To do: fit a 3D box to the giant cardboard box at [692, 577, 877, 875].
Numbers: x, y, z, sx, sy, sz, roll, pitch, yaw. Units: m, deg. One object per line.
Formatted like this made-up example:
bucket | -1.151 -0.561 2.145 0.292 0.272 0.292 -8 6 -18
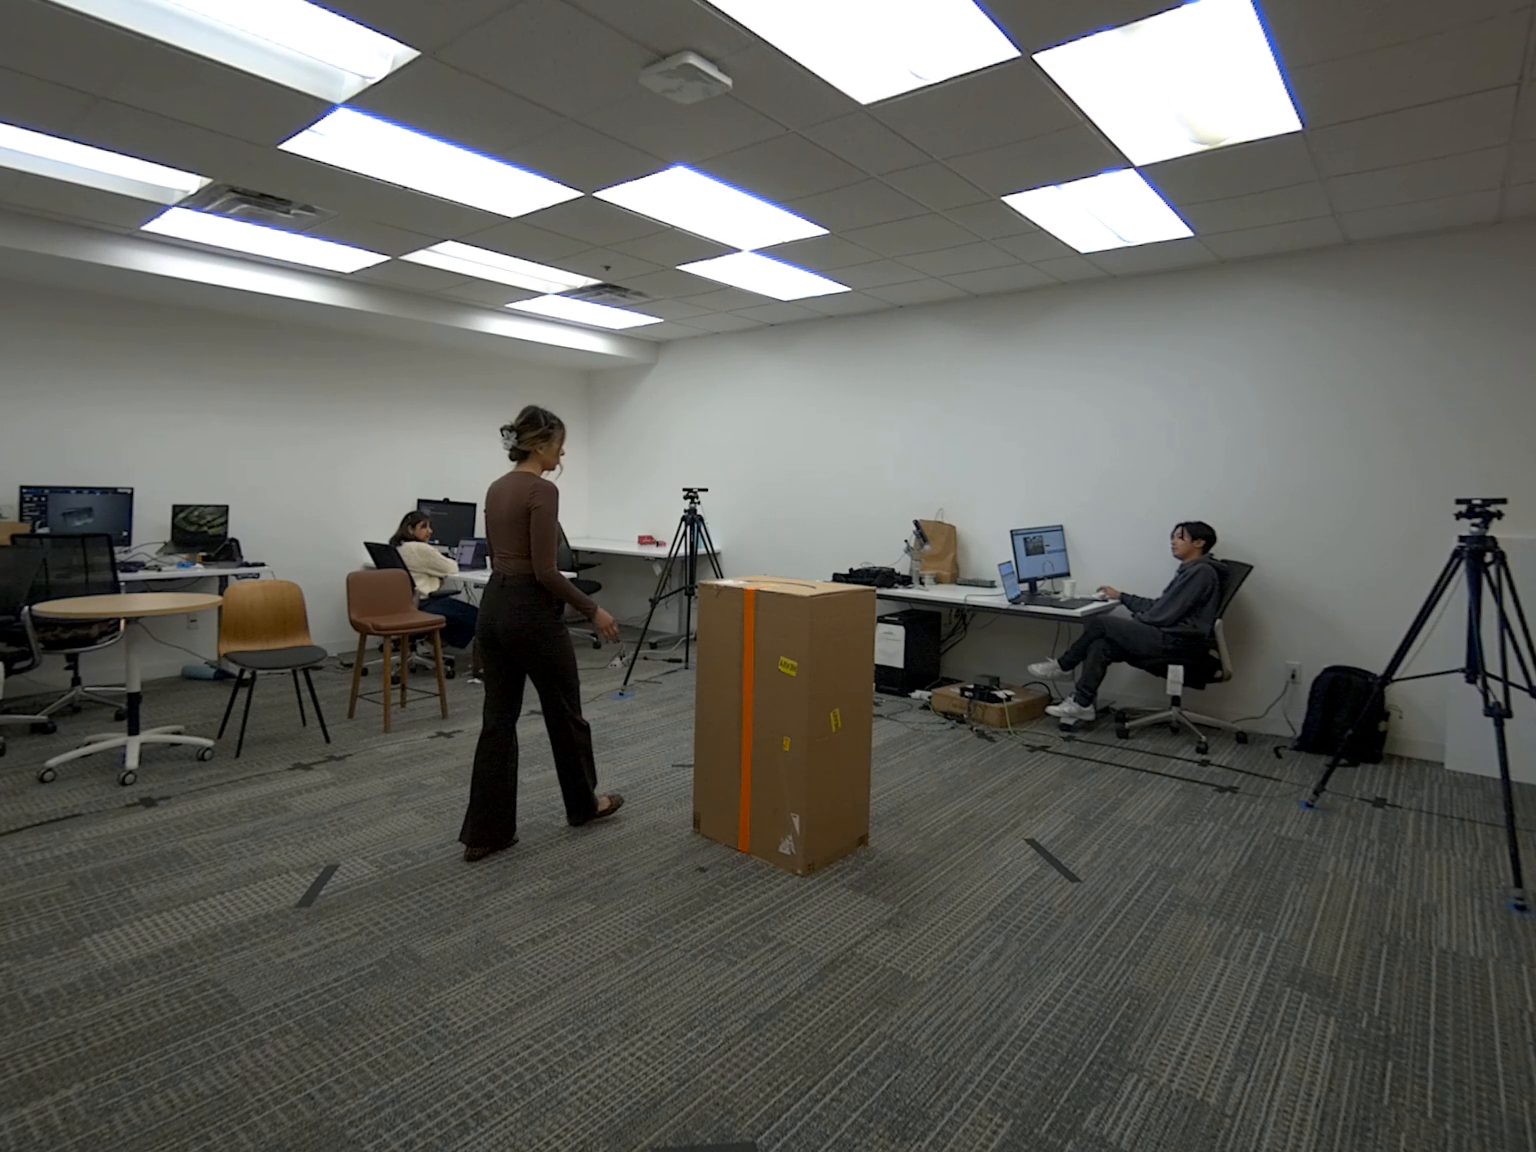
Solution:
giant cardboard box | 0.049 0.538 3.379 0.604 1.024 0.433 4 5 44
